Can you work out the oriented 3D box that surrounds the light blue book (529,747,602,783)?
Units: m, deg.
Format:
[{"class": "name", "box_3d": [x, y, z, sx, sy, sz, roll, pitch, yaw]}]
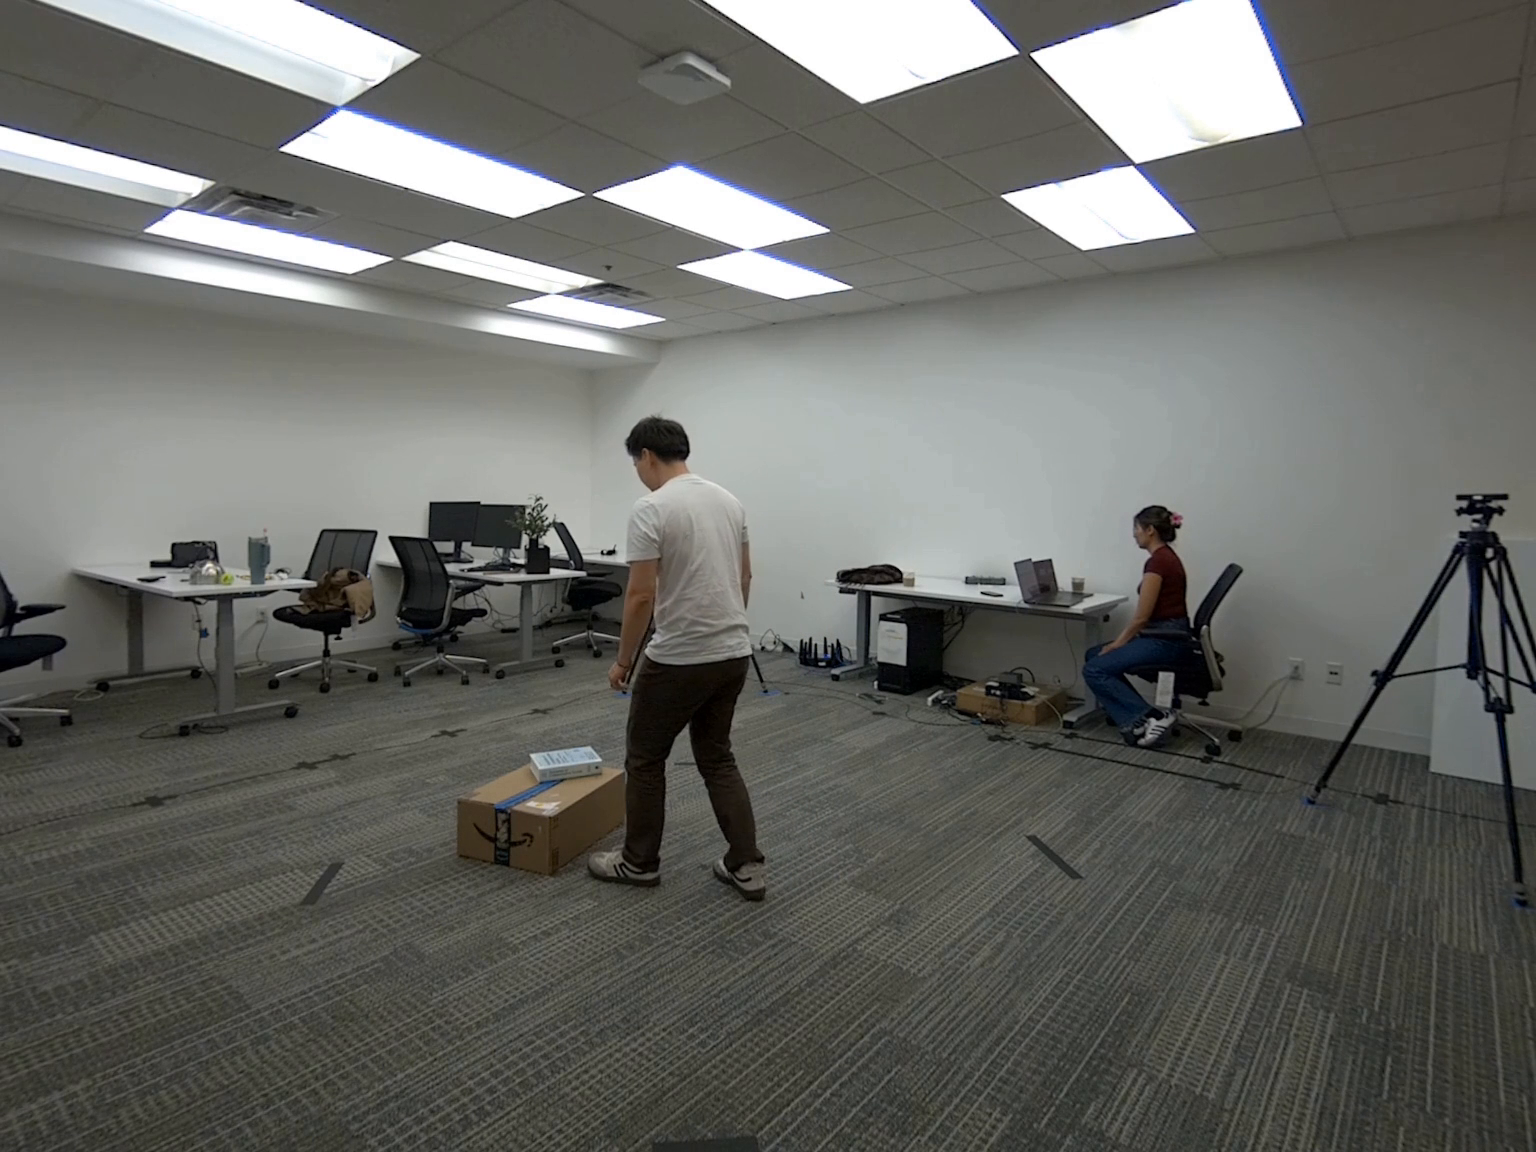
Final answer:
[{"class": "light blue book", "box_3d": [-0.854, 0.777, 3.521, 0.255, 0.059, 0.197, -3, 7, -25]}]
